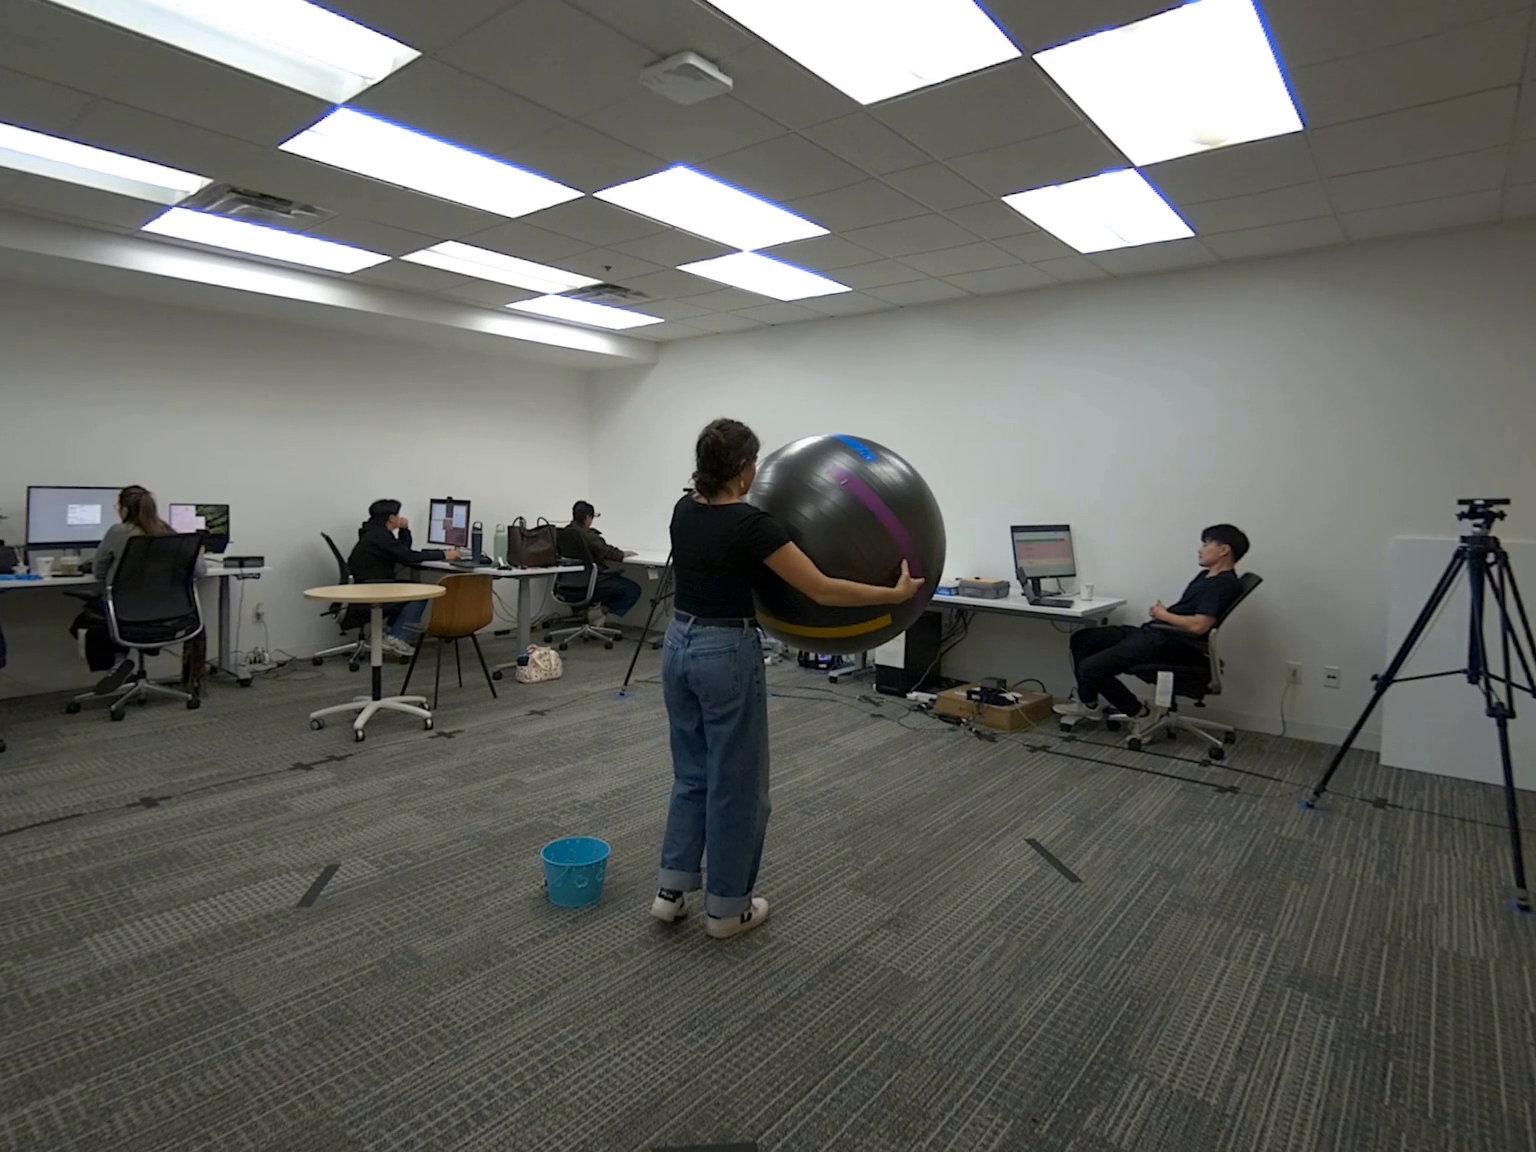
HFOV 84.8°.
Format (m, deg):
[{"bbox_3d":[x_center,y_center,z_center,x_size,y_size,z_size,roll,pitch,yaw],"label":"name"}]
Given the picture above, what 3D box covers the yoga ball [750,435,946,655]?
[{"bbox_3d":[0.228,-0.122,2.952,0.757,0.755,0.762,1,4,-2],"label":"yoga ball"}]
